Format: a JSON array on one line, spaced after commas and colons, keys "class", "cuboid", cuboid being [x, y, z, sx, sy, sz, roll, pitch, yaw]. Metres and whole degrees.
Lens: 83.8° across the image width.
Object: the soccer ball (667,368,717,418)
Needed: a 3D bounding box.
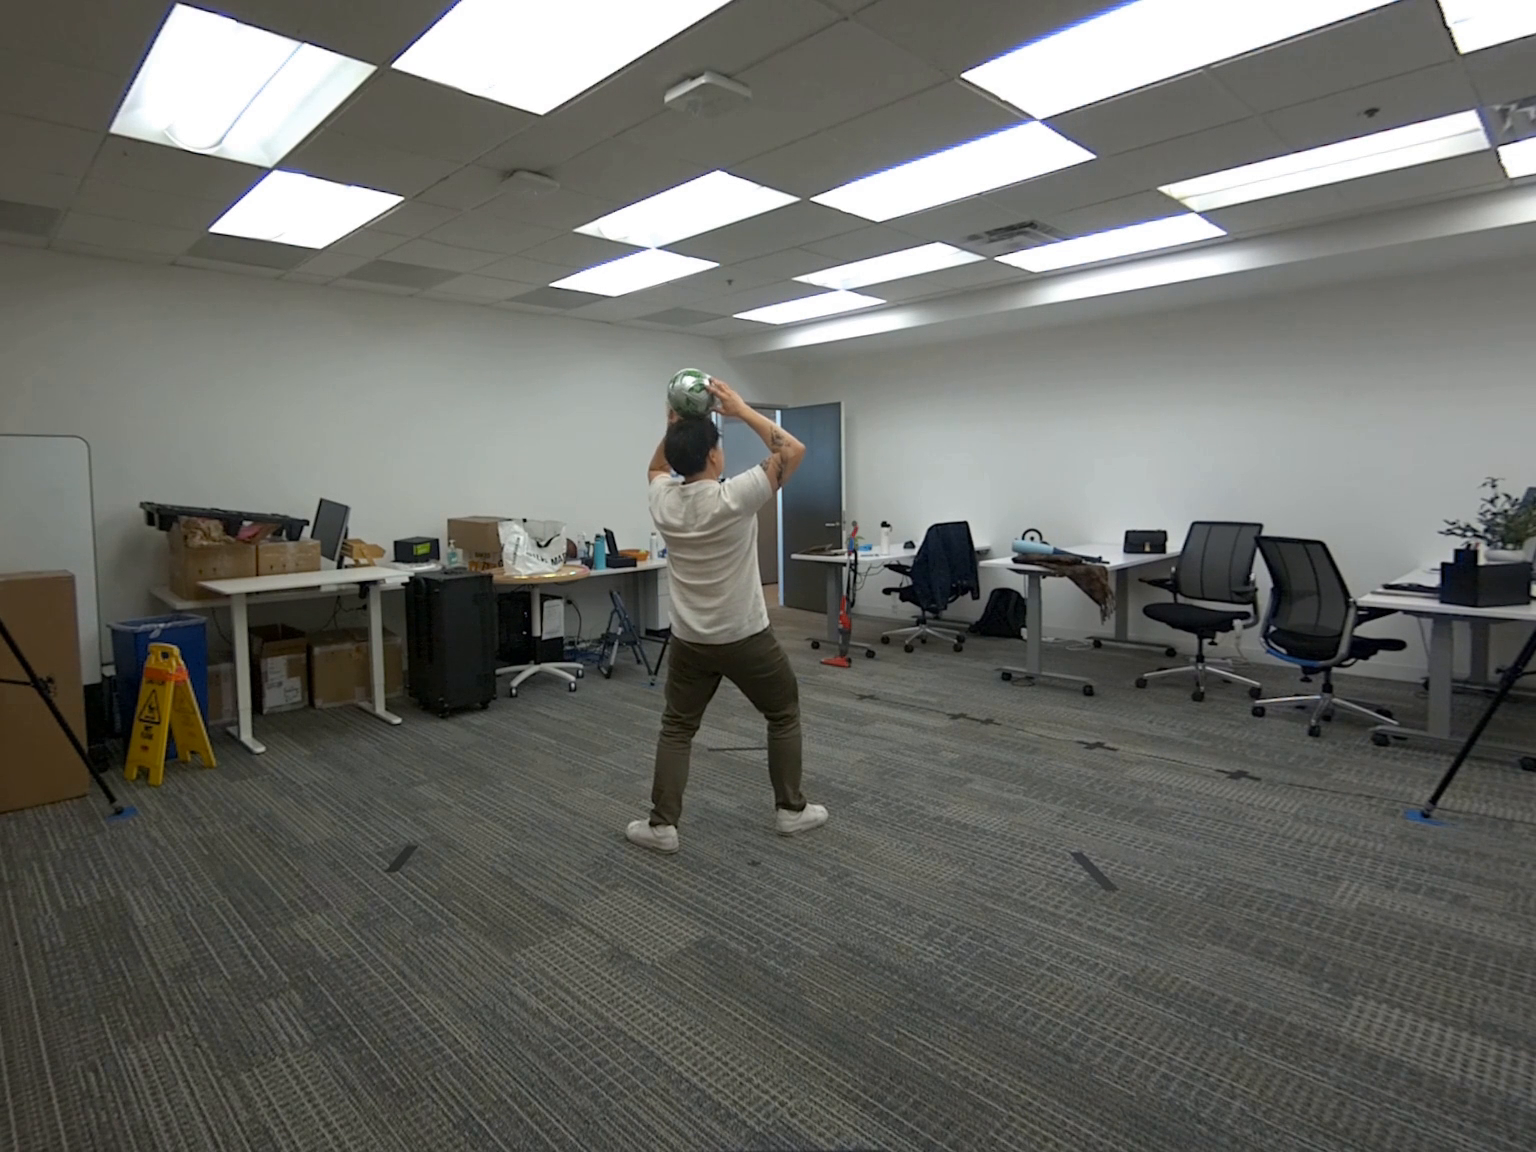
[{"class": "soccer ball", "cuboid": [-0.278, -0.664, 3.127, 0.187, 0.187, 0.188, -1, 5, -2]}]
